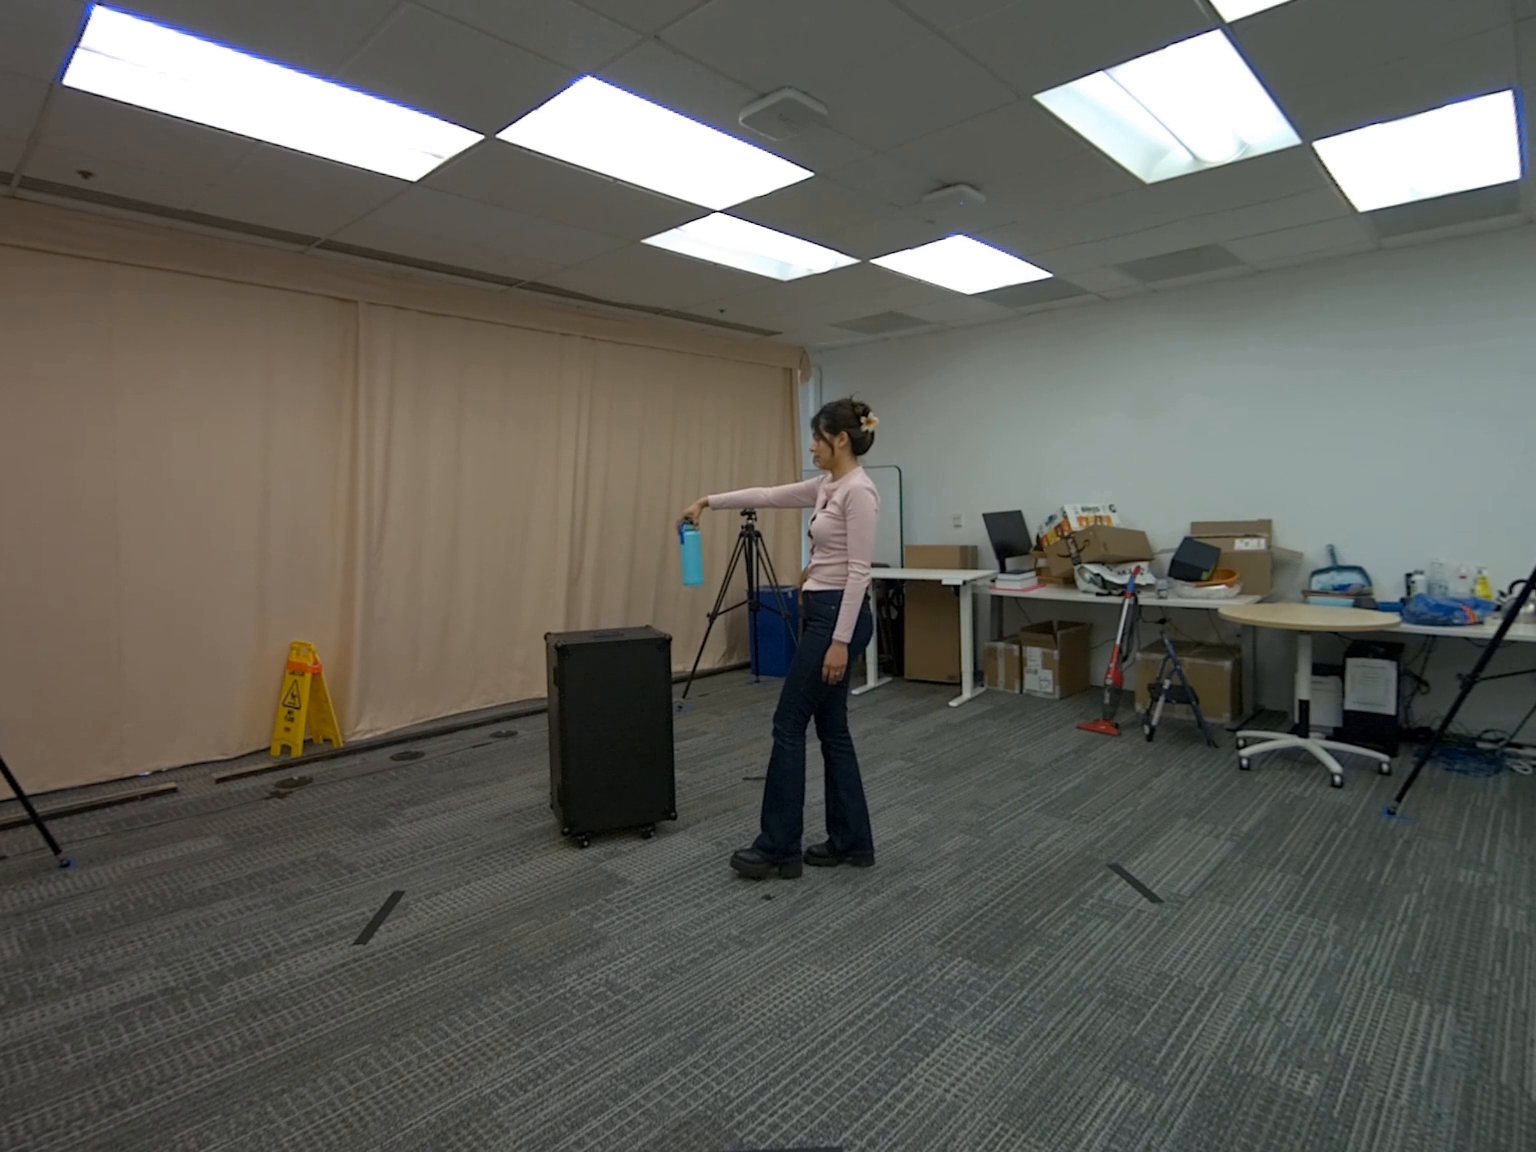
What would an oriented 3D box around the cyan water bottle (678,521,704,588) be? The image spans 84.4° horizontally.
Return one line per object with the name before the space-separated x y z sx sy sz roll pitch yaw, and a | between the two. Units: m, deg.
cyan water bottle | -0.323 -0.102 3.501 0.092 0.282 0.093 -4 5 -1
